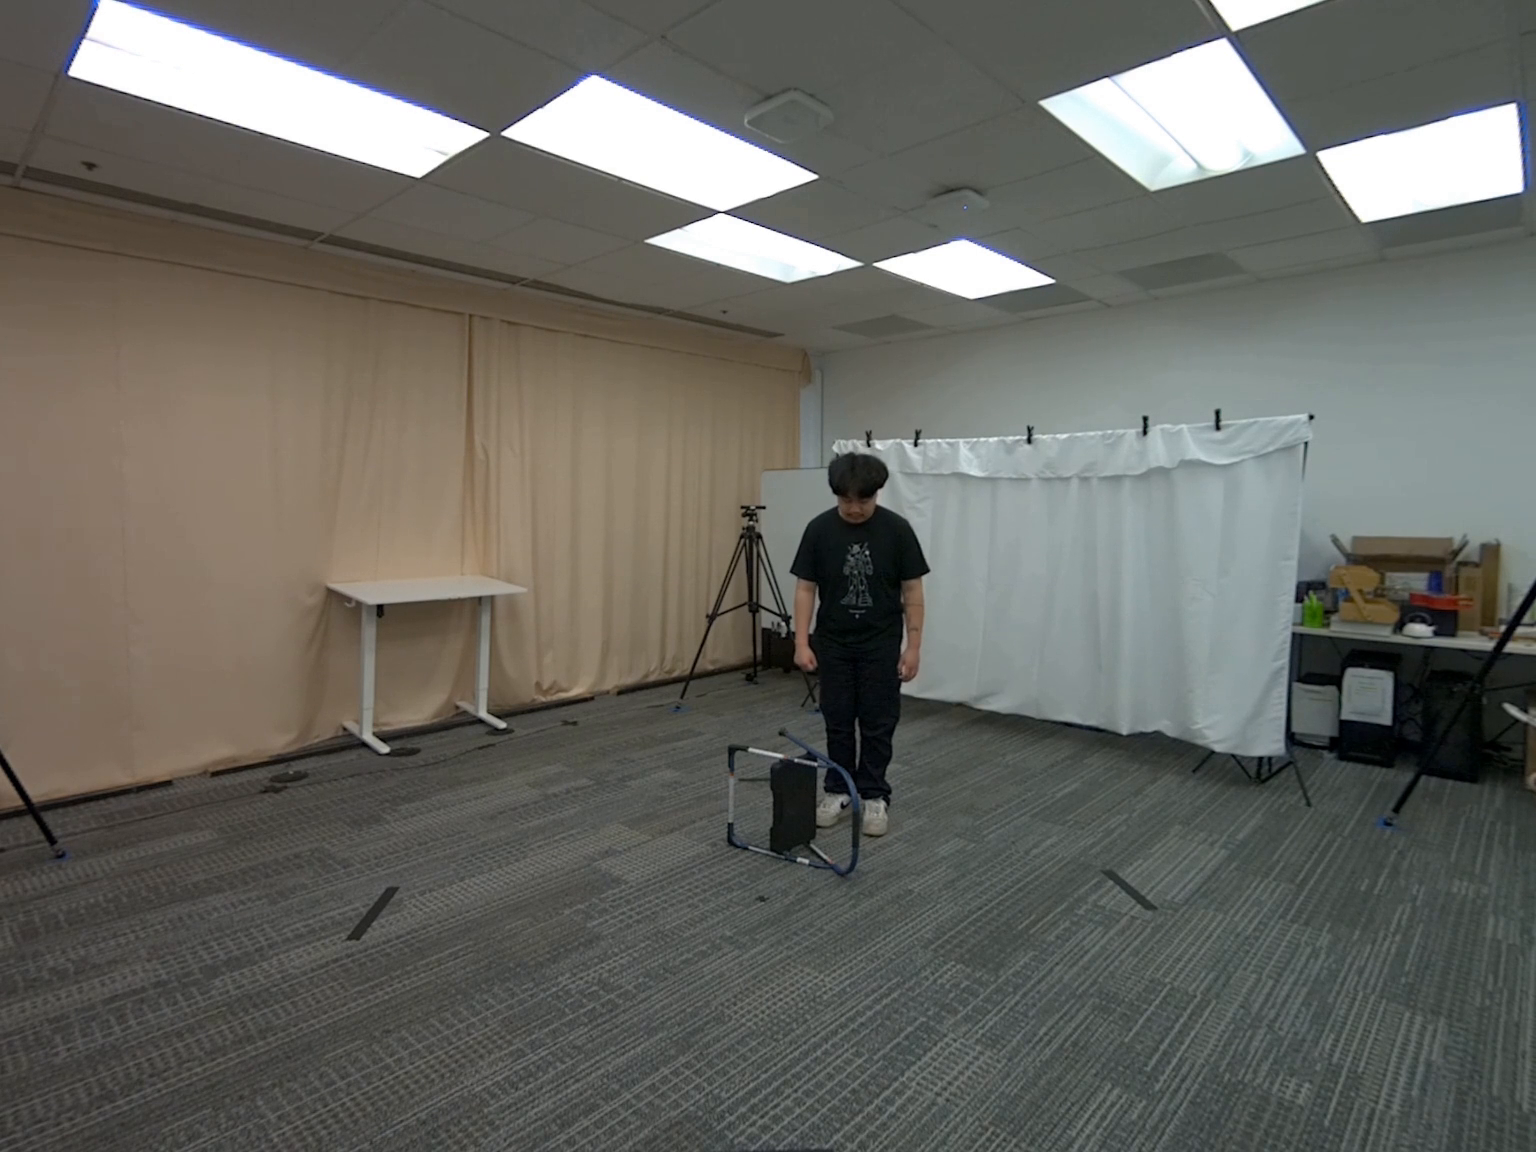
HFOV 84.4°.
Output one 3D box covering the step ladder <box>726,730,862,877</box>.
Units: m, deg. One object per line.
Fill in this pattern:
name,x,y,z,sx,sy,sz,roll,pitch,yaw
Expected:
step ladder,0.163,0.900,3.333,0.339,0.429,0.626,-5,7,-43
